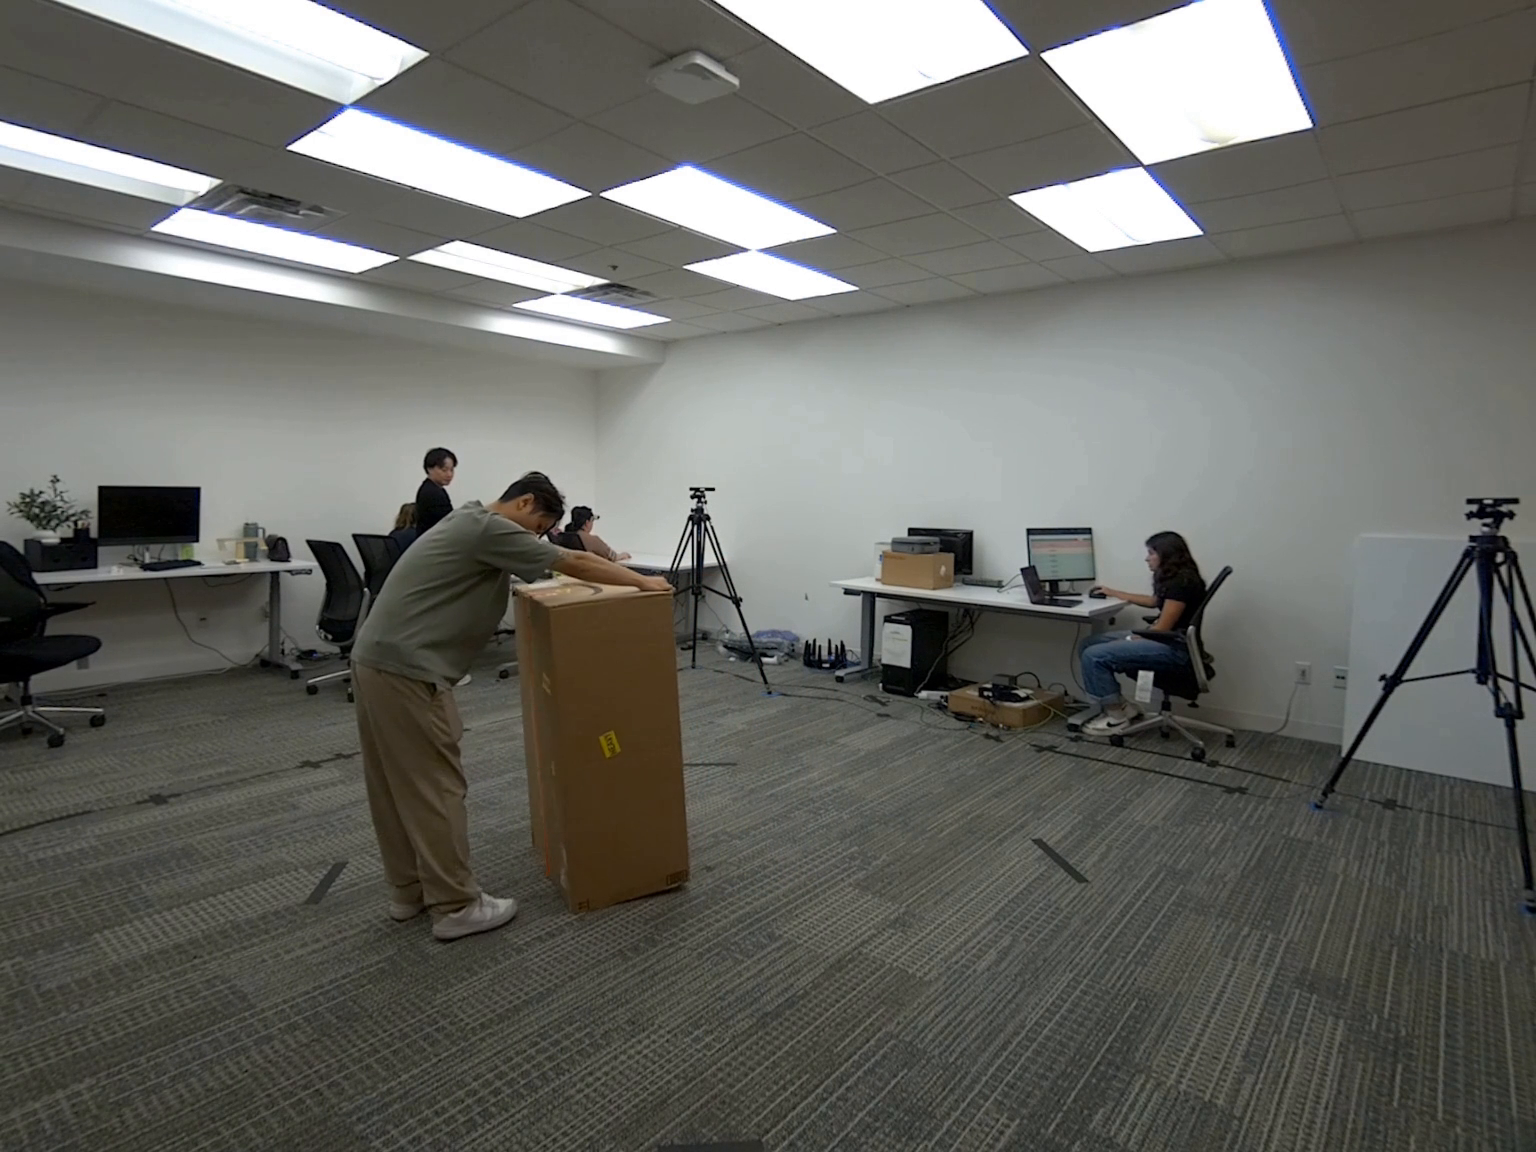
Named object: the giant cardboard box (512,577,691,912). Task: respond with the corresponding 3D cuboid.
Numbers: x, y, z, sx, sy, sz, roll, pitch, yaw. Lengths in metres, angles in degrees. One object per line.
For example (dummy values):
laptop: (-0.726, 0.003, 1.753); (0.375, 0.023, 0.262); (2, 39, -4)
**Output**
giant cardboard box: (-0.623, 0.541, 3.048); (0.416, 1.020, 0.594); (-6, 7, -27)
